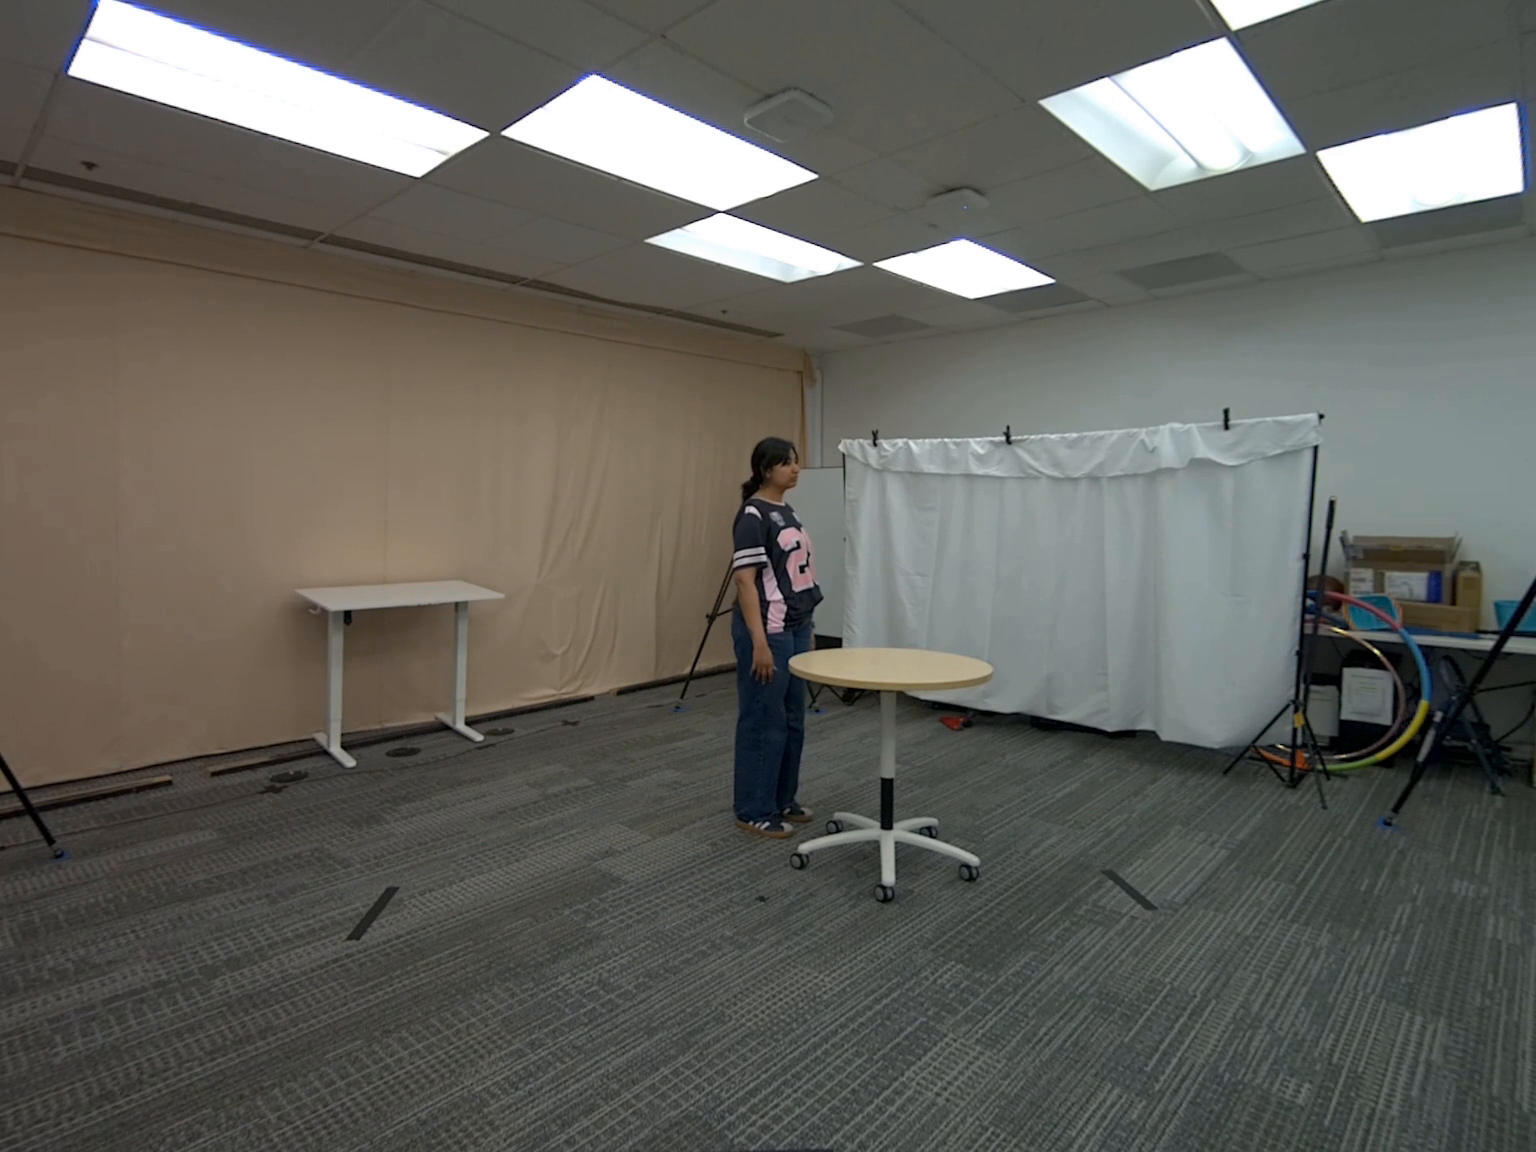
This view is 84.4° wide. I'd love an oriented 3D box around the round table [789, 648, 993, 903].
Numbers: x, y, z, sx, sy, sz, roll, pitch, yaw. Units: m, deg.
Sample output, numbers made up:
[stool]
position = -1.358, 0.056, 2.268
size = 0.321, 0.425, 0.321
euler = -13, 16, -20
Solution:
[round table]
position = 0.466, 0.731, 3.250
size = 0.763, 0.793, 0.766
euler = 0, 3, -2
